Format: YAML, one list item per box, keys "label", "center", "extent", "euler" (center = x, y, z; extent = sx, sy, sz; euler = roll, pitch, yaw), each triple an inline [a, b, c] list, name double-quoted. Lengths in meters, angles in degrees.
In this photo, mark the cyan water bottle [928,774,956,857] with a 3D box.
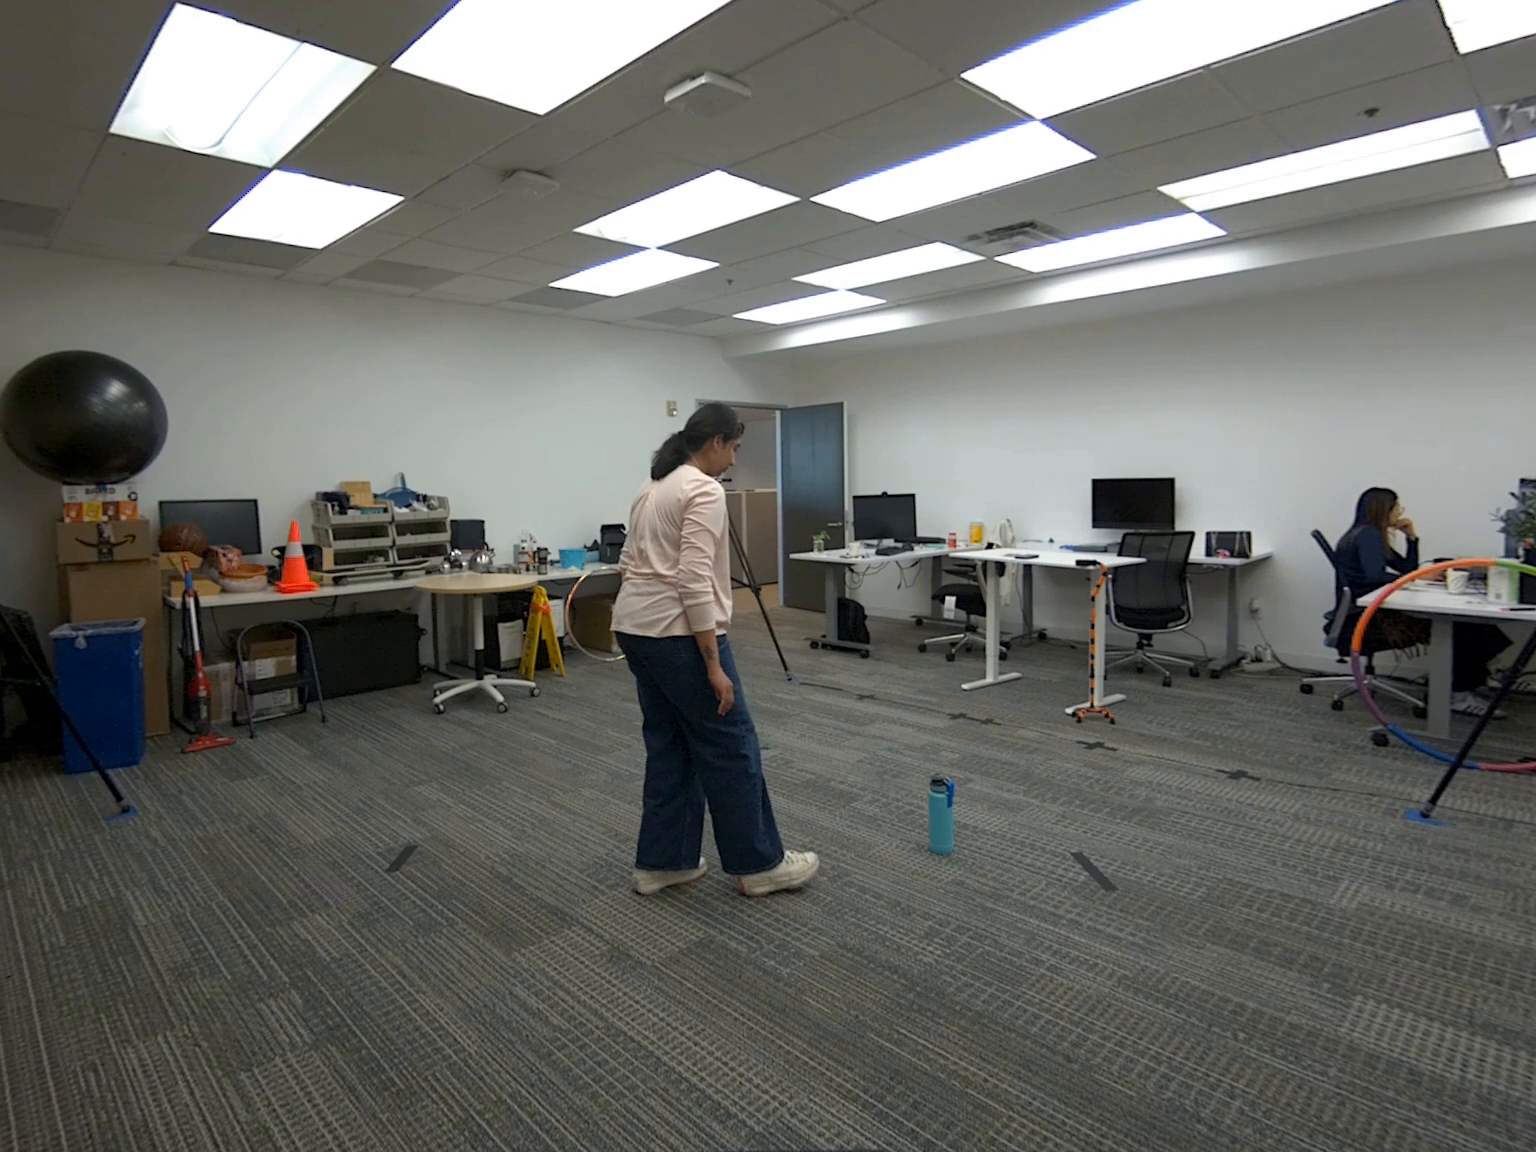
- label: "cyan water bottle"
  center: [0.653, 0.885, 3.185]
  extent: [0.092, 0.283, 0.092]
  euler: [-1, 3, -2]
